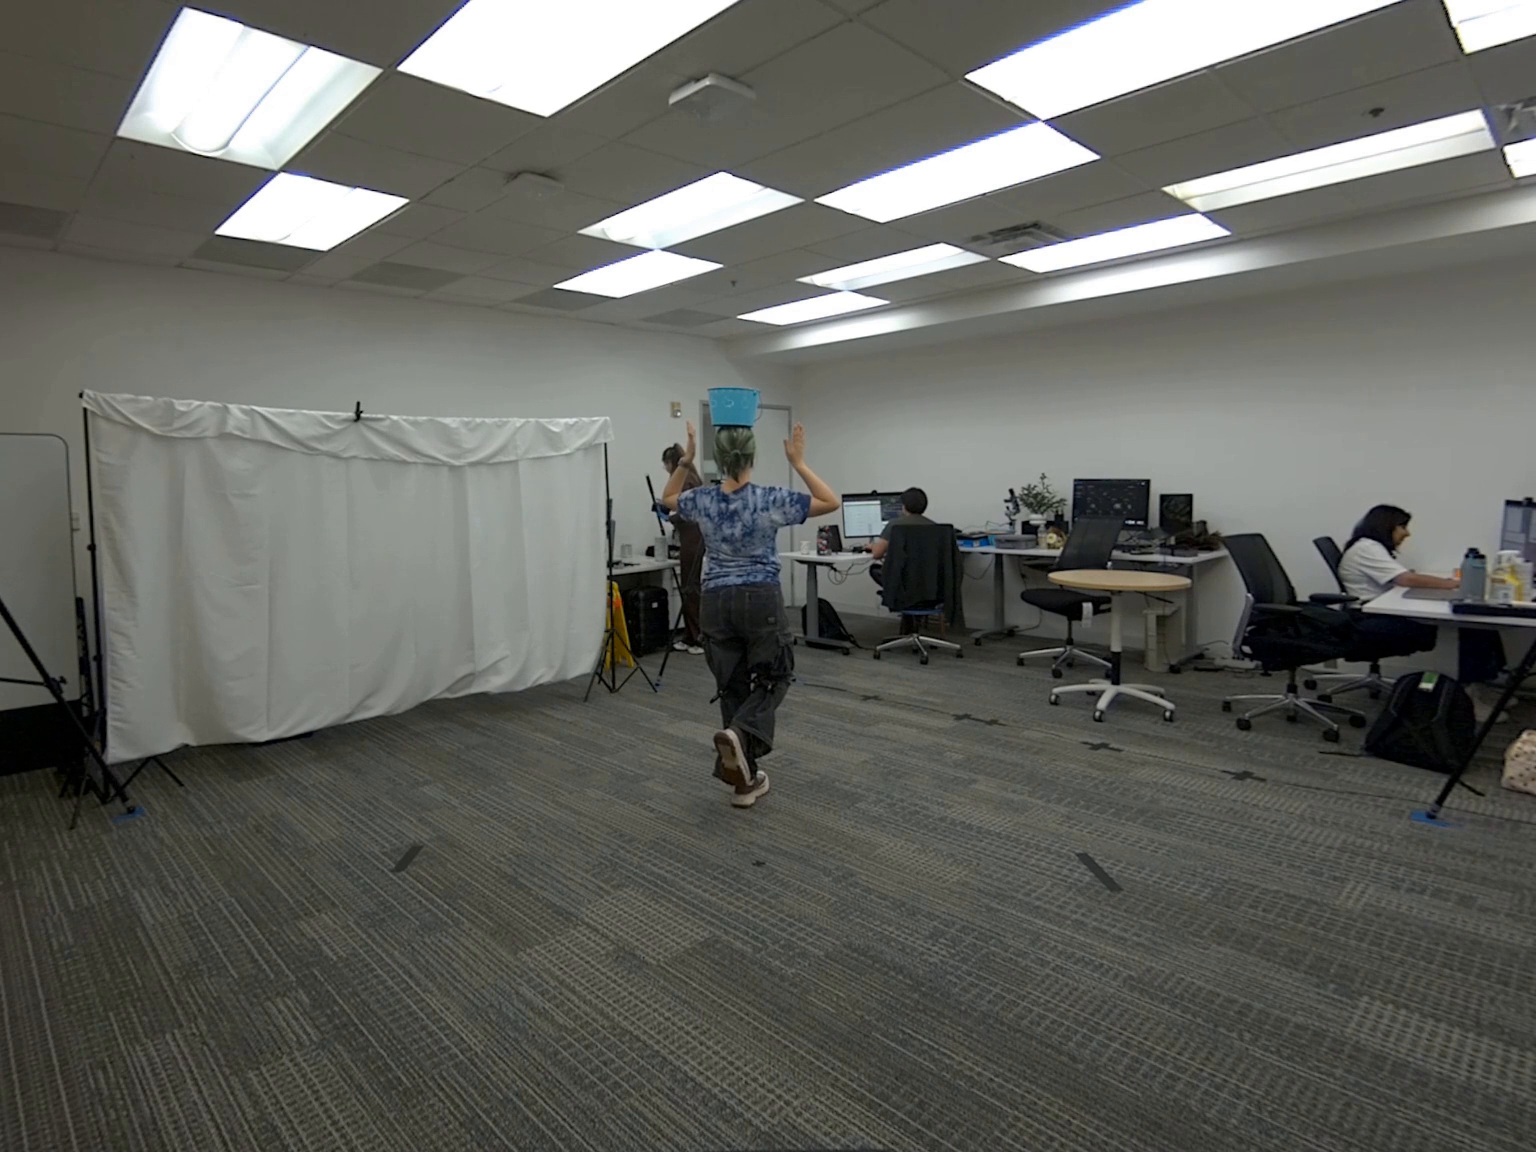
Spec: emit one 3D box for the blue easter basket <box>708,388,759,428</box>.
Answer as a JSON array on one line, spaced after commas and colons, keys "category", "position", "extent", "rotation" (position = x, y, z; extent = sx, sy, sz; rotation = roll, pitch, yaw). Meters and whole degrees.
[{"category": "blue easter basket", "position": [-0.147, -0.718, 3.664], "extent": [0.243, 0.155, 0.245], "rotation": [1, 5, -2]}]
